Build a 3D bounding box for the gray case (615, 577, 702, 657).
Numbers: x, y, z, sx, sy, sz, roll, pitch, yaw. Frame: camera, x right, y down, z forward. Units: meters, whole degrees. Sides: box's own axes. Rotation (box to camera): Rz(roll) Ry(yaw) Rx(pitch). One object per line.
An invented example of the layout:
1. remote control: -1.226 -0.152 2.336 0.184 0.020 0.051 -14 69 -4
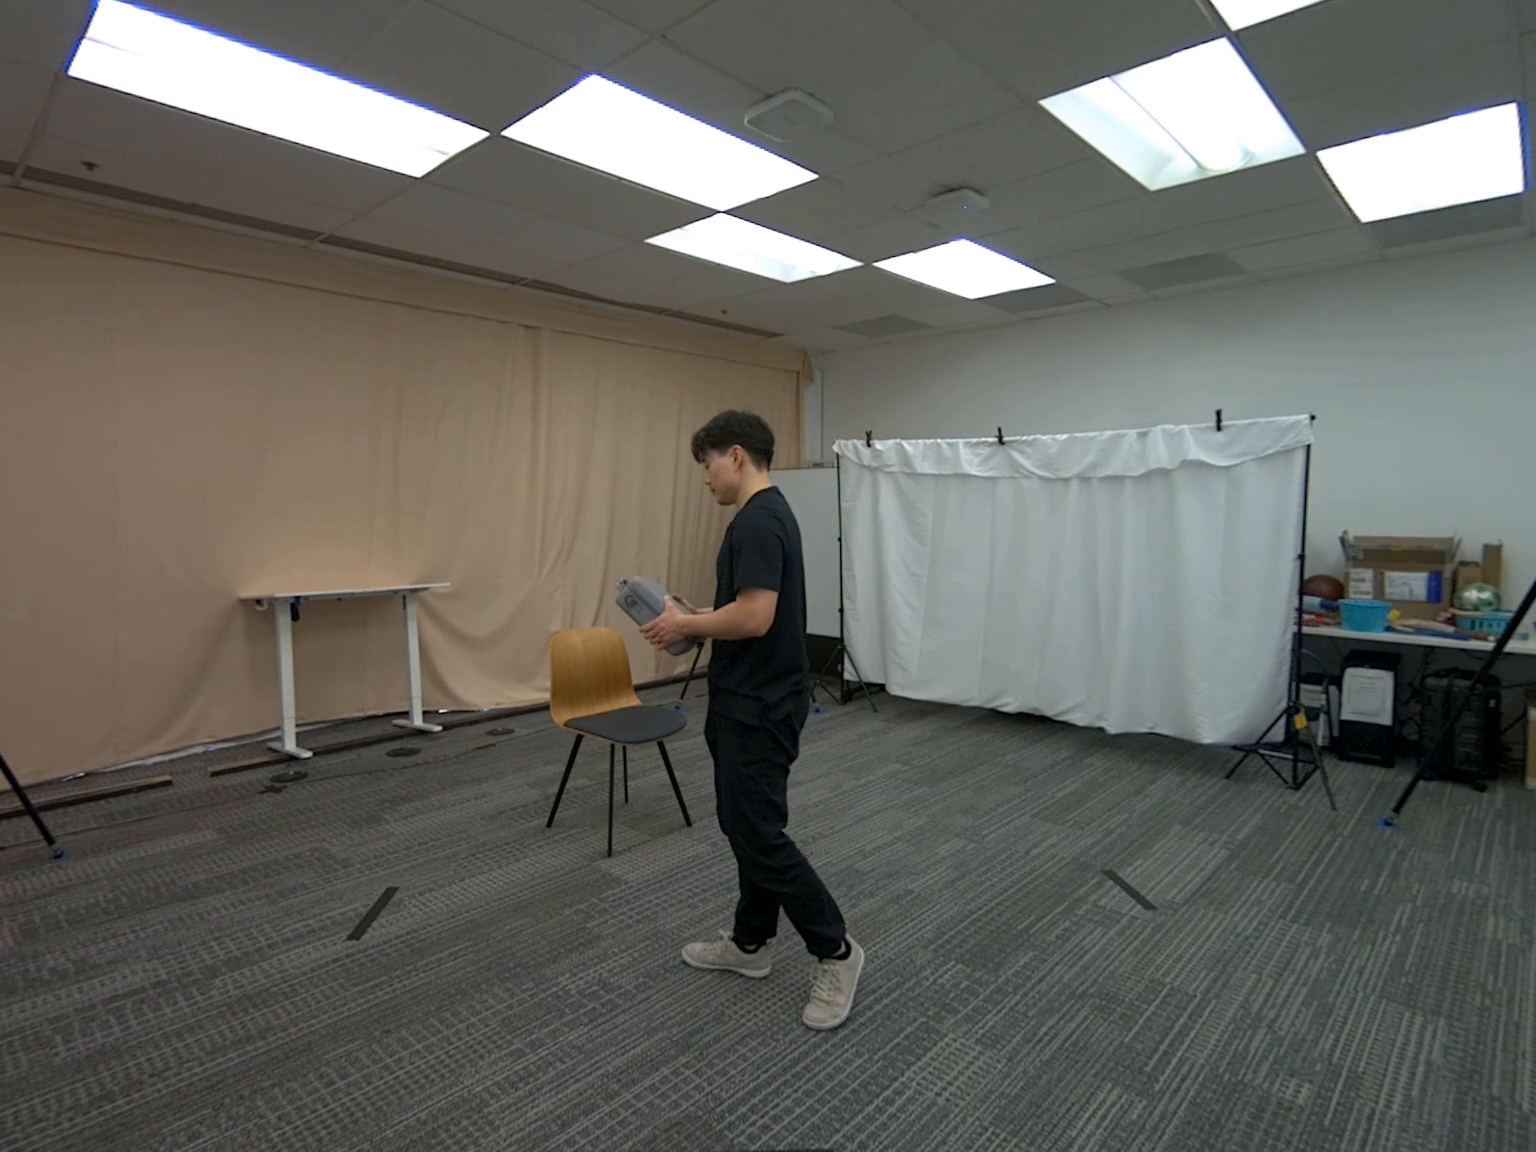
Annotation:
1. gray case: -0.310 0.116 2.487 0.264 0.104 0.254 42 2 8
